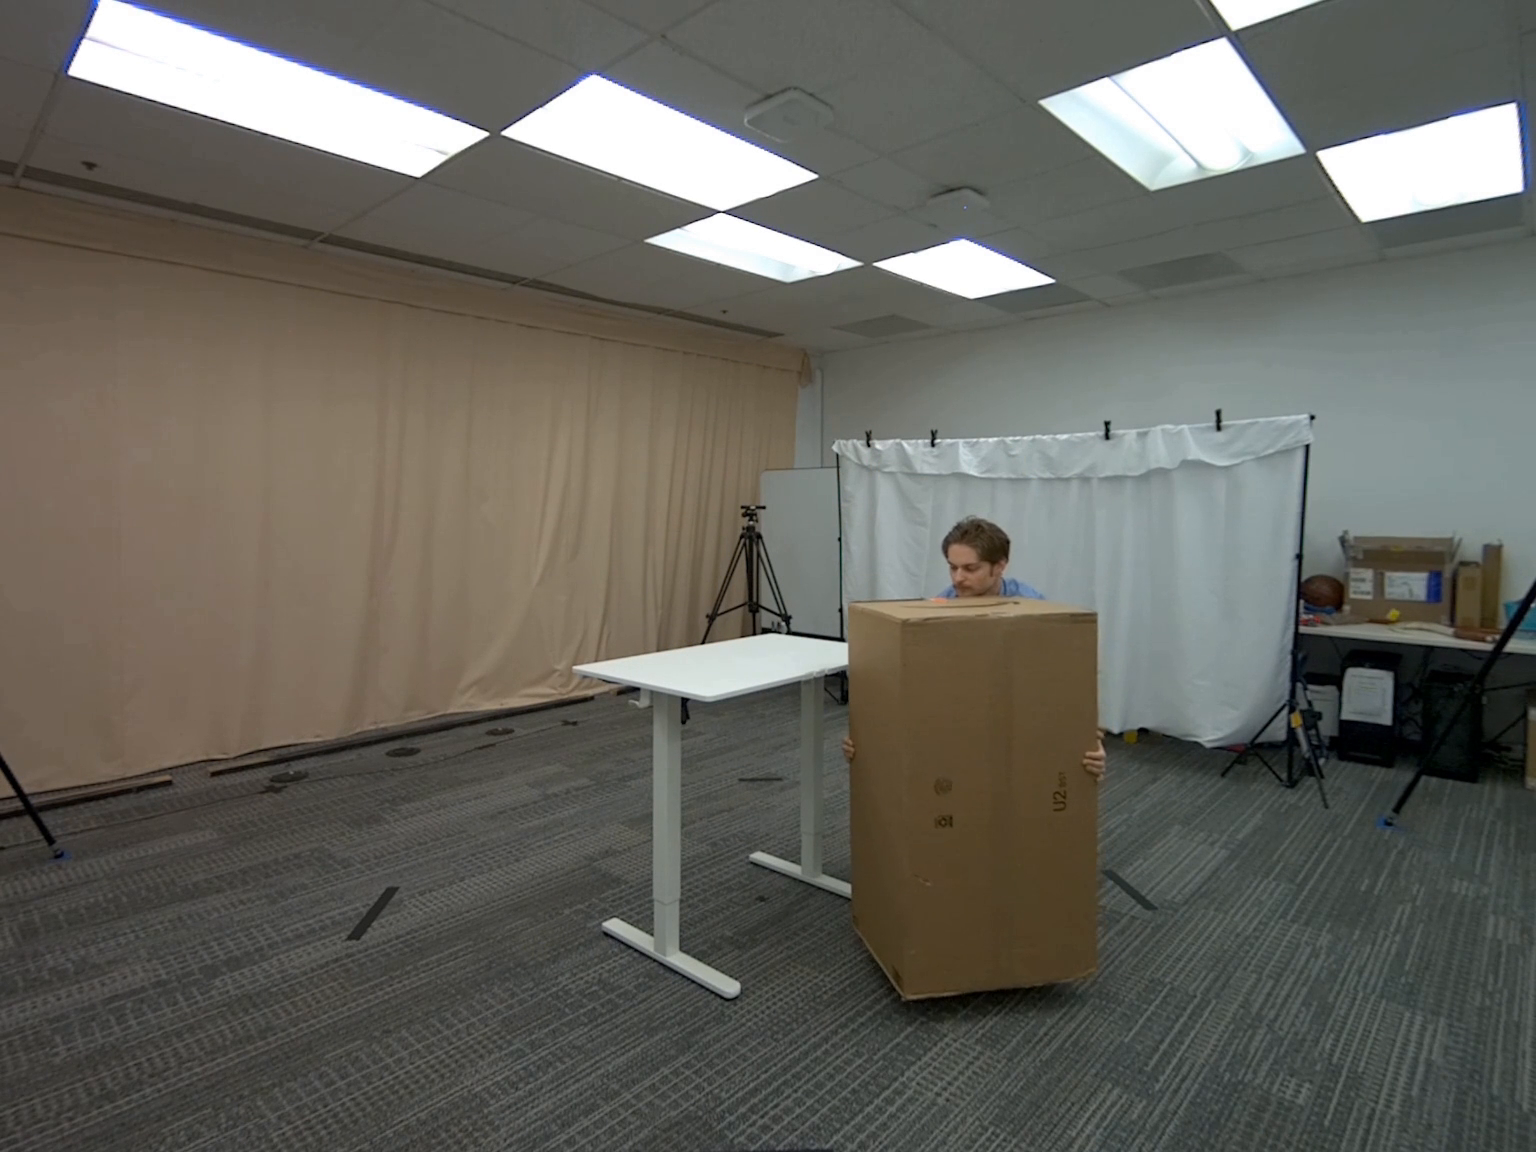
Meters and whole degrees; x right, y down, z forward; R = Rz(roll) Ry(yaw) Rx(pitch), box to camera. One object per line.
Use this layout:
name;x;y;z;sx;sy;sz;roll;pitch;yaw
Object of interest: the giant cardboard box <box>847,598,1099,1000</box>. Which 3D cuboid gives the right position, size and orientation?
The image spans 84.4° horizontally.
giant cardboard box;0.582;0.600;2.460;0.570;1.024;0.433;-1;3;-13
